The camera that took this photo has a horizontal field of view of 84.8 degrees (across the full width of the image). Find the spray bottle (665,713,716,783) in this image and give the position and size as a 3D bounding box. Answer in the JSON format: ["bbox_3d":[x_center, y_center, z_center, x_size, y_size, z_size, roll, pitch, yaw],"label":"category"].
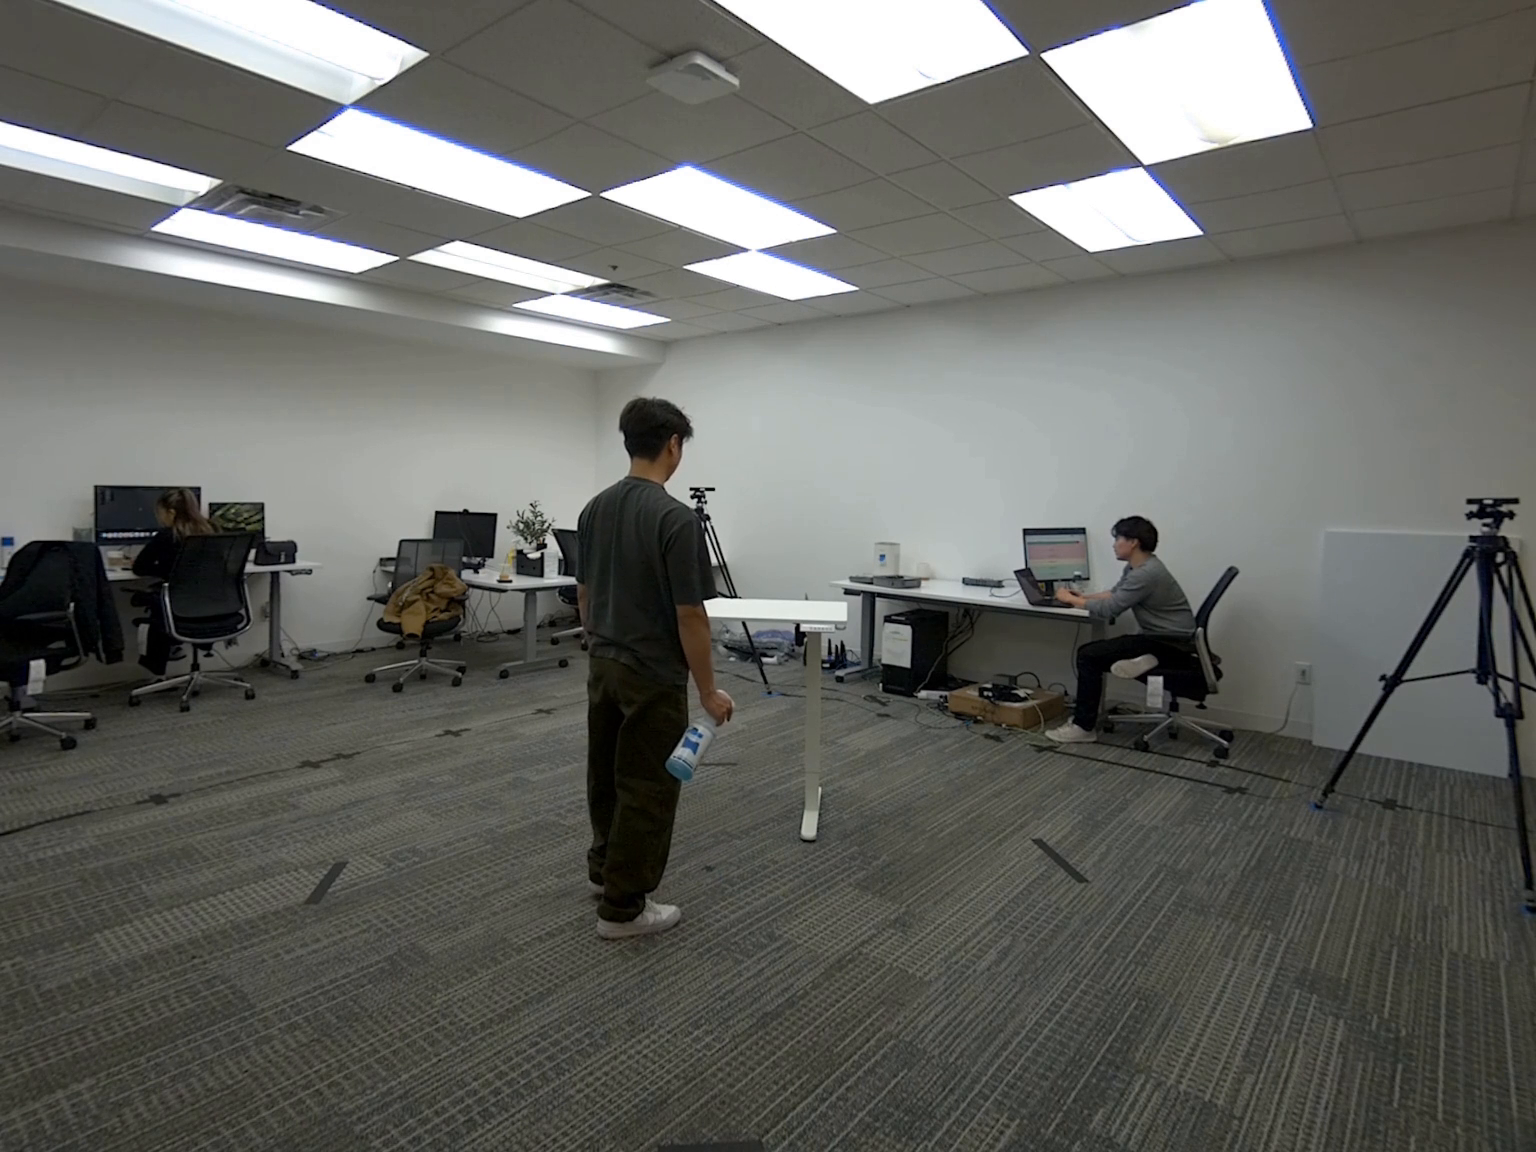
[{"bbox_3d":[-0.210,0.464,2.537,0.089,0.299,0.087,38,-36,-6],"label":"spray bottle"}]
